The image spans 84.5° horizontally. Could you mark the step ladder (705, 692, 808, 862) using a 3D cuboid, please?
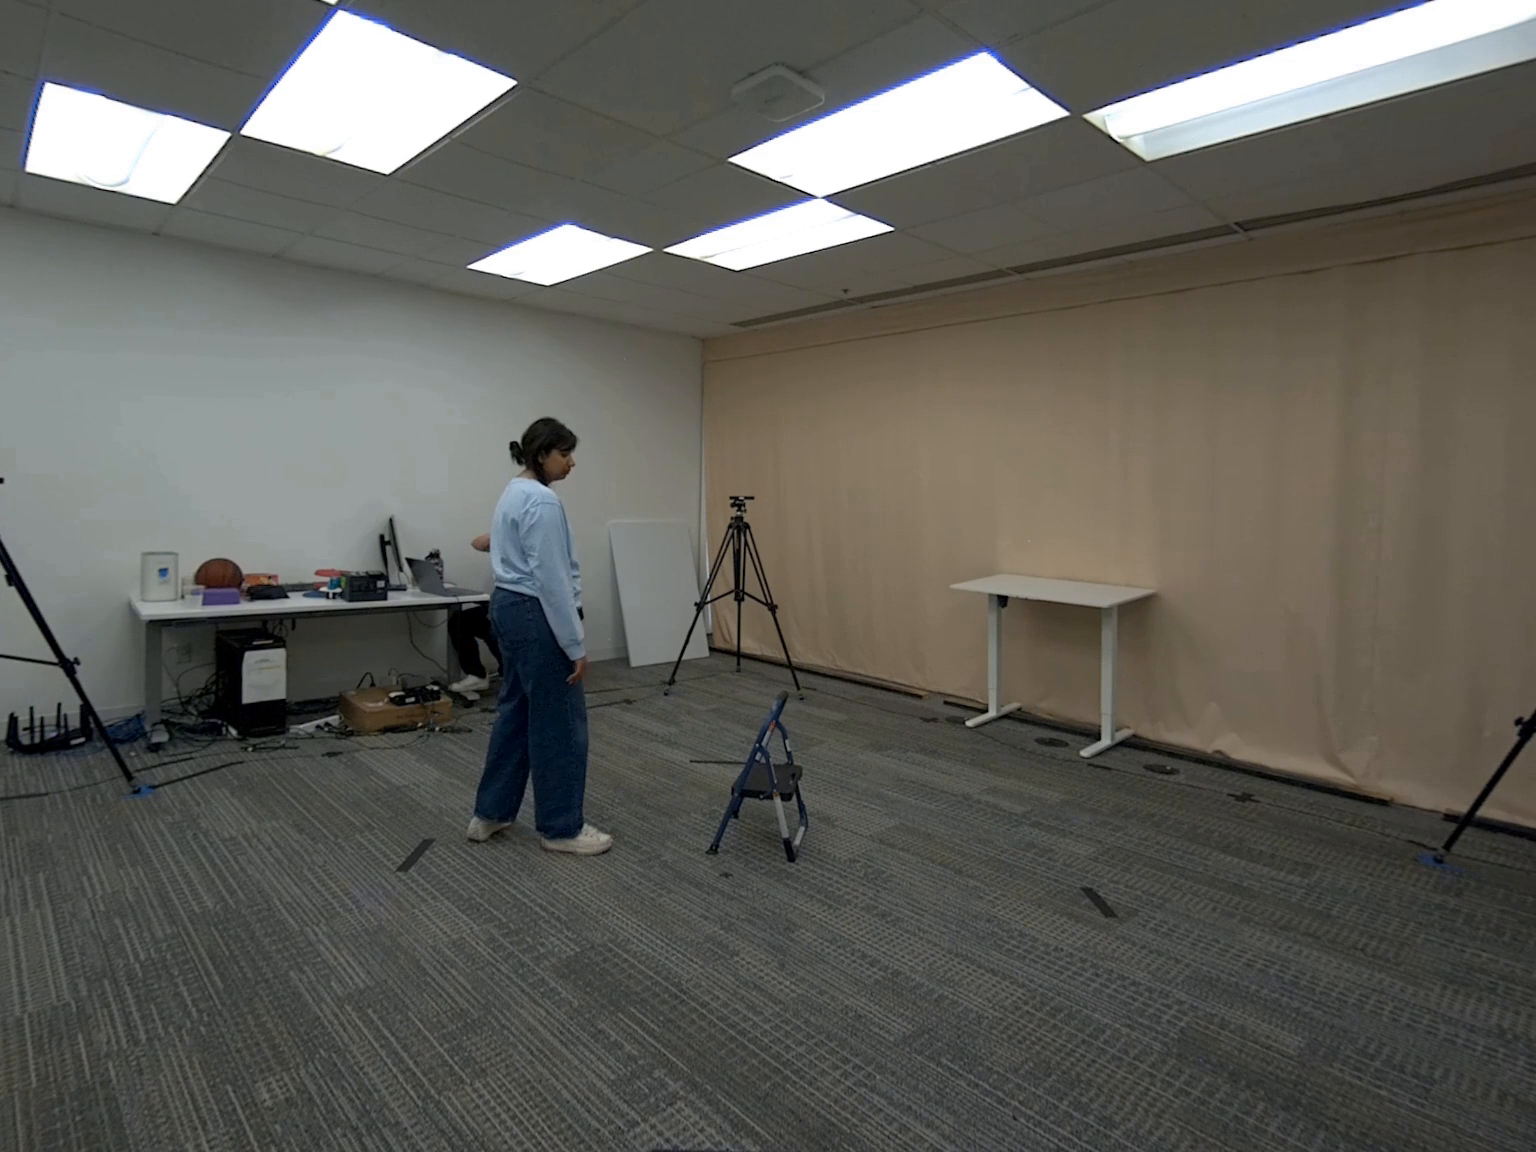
[{"bbox_3d":[-0.029,0.773,3.442,0.353,0.605,0.427,2,3,11],"label":"step ladder"}]
